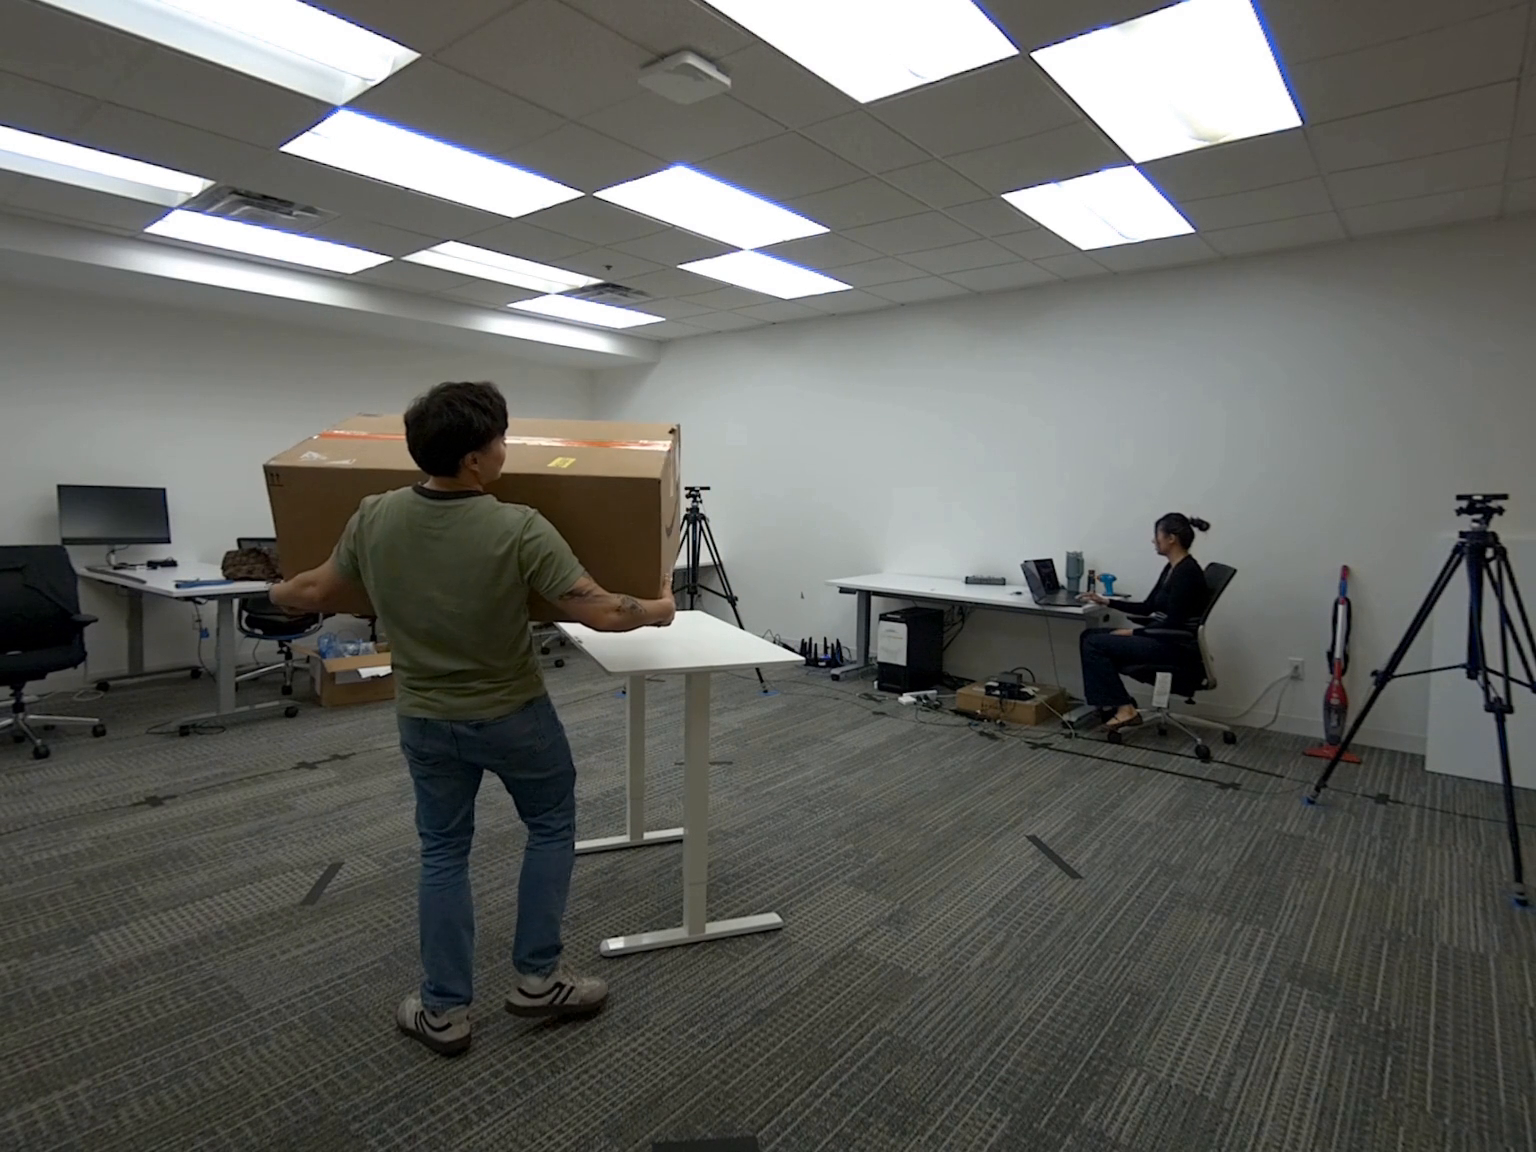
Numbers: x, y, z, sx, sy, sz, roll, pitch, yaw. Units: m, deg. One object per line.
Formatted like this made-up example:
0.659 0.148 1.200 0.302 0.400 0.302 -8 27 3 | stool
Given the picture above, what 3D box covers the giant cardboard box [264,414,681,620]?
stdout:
-0.795 -0.199 2.480 1.029 0.418 0.587 2 23 2 | giant cardboard box
